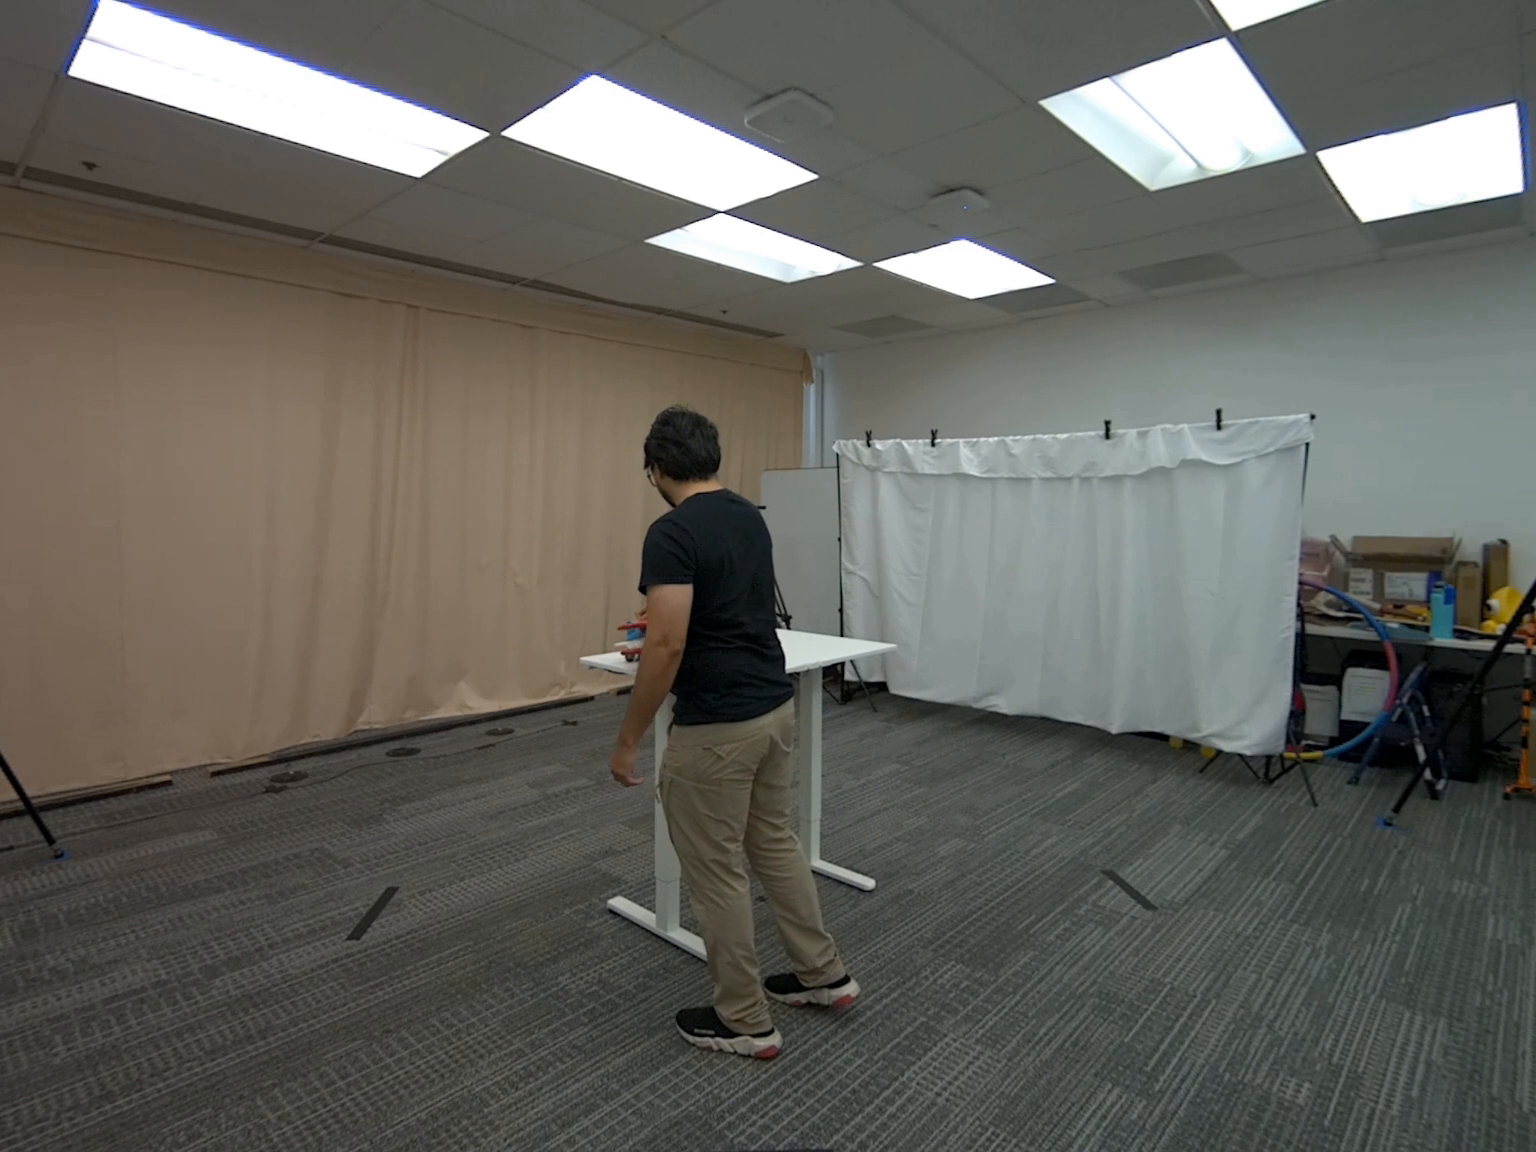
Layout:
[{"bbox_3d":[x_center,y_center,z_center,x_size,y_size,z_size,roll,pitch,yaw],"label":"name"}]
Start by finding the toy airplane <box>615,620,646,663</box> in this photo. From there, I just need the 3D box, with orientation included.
[{"bbox_3d":[-0.382,0.211,2.655,0.265,0.156,0.246,3,4,22],"label":"toy airplane"}]
